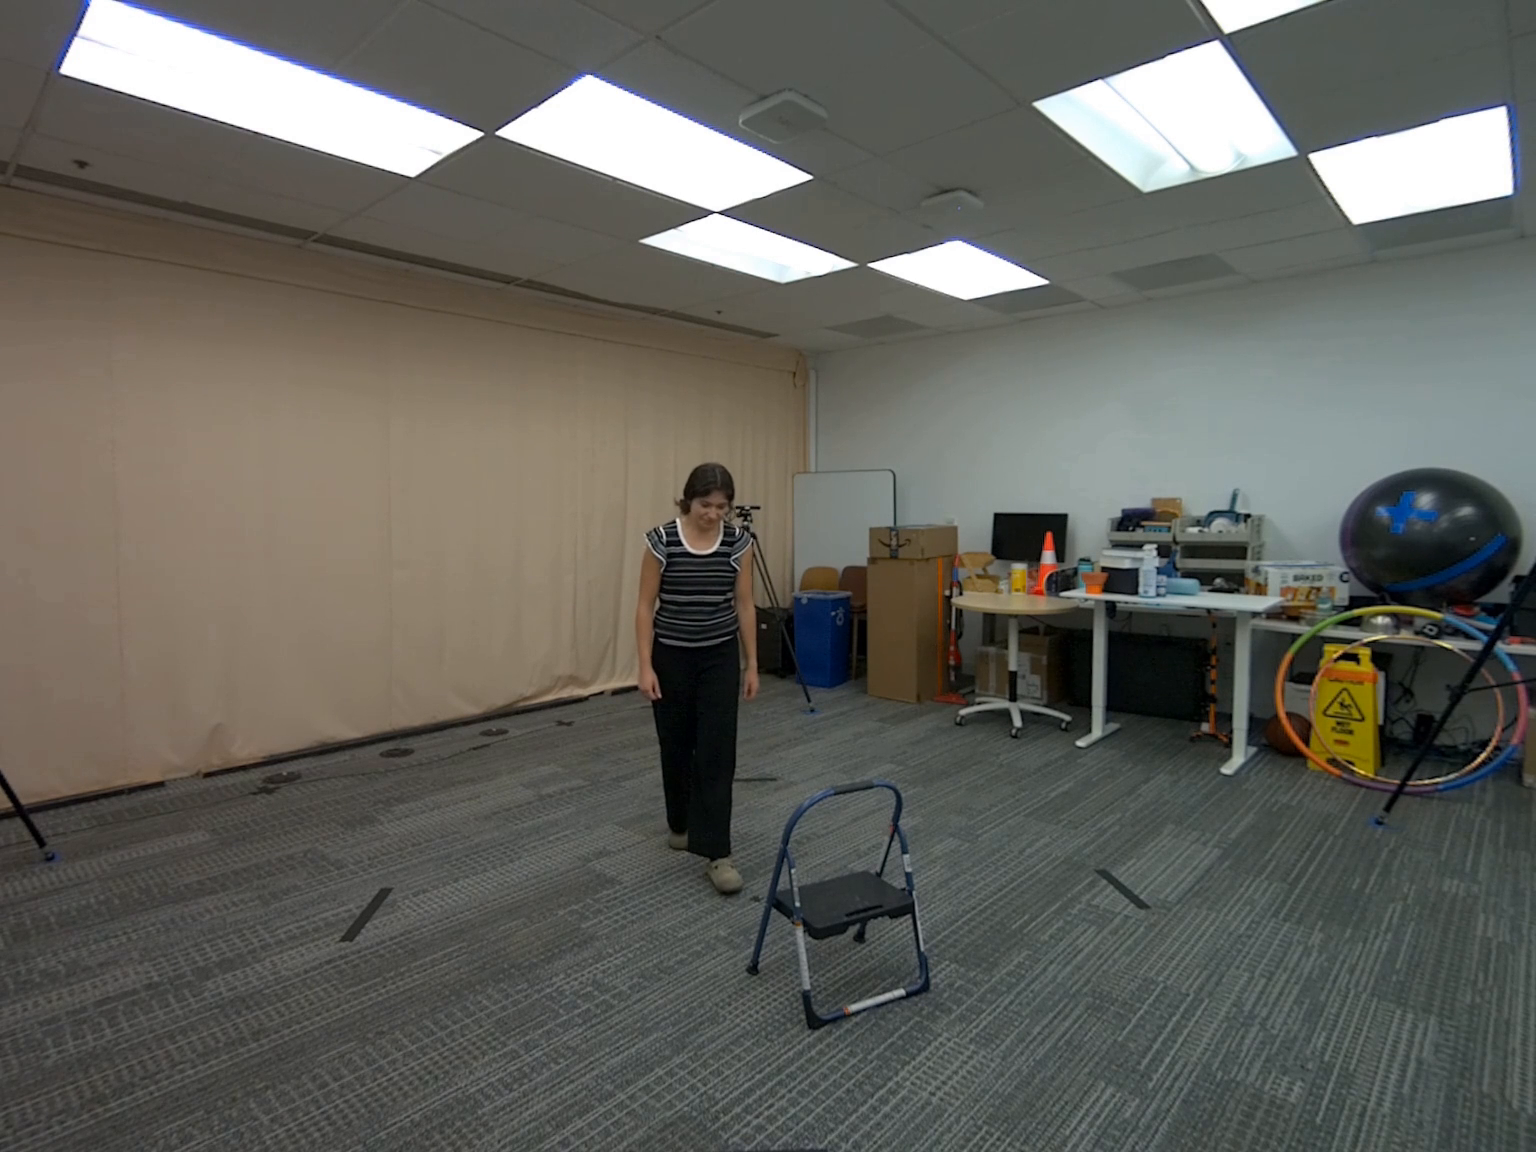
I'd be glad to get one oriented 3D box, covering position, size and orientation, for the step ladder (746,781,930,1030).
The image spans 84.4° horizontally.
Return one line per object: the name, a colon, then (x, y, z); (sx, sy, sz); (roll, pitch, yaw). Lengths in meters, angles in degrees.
step ladder: (0.208, 0.885, 2.457); (0.419, 0.605, 0.359); (-2, 4, -30)
